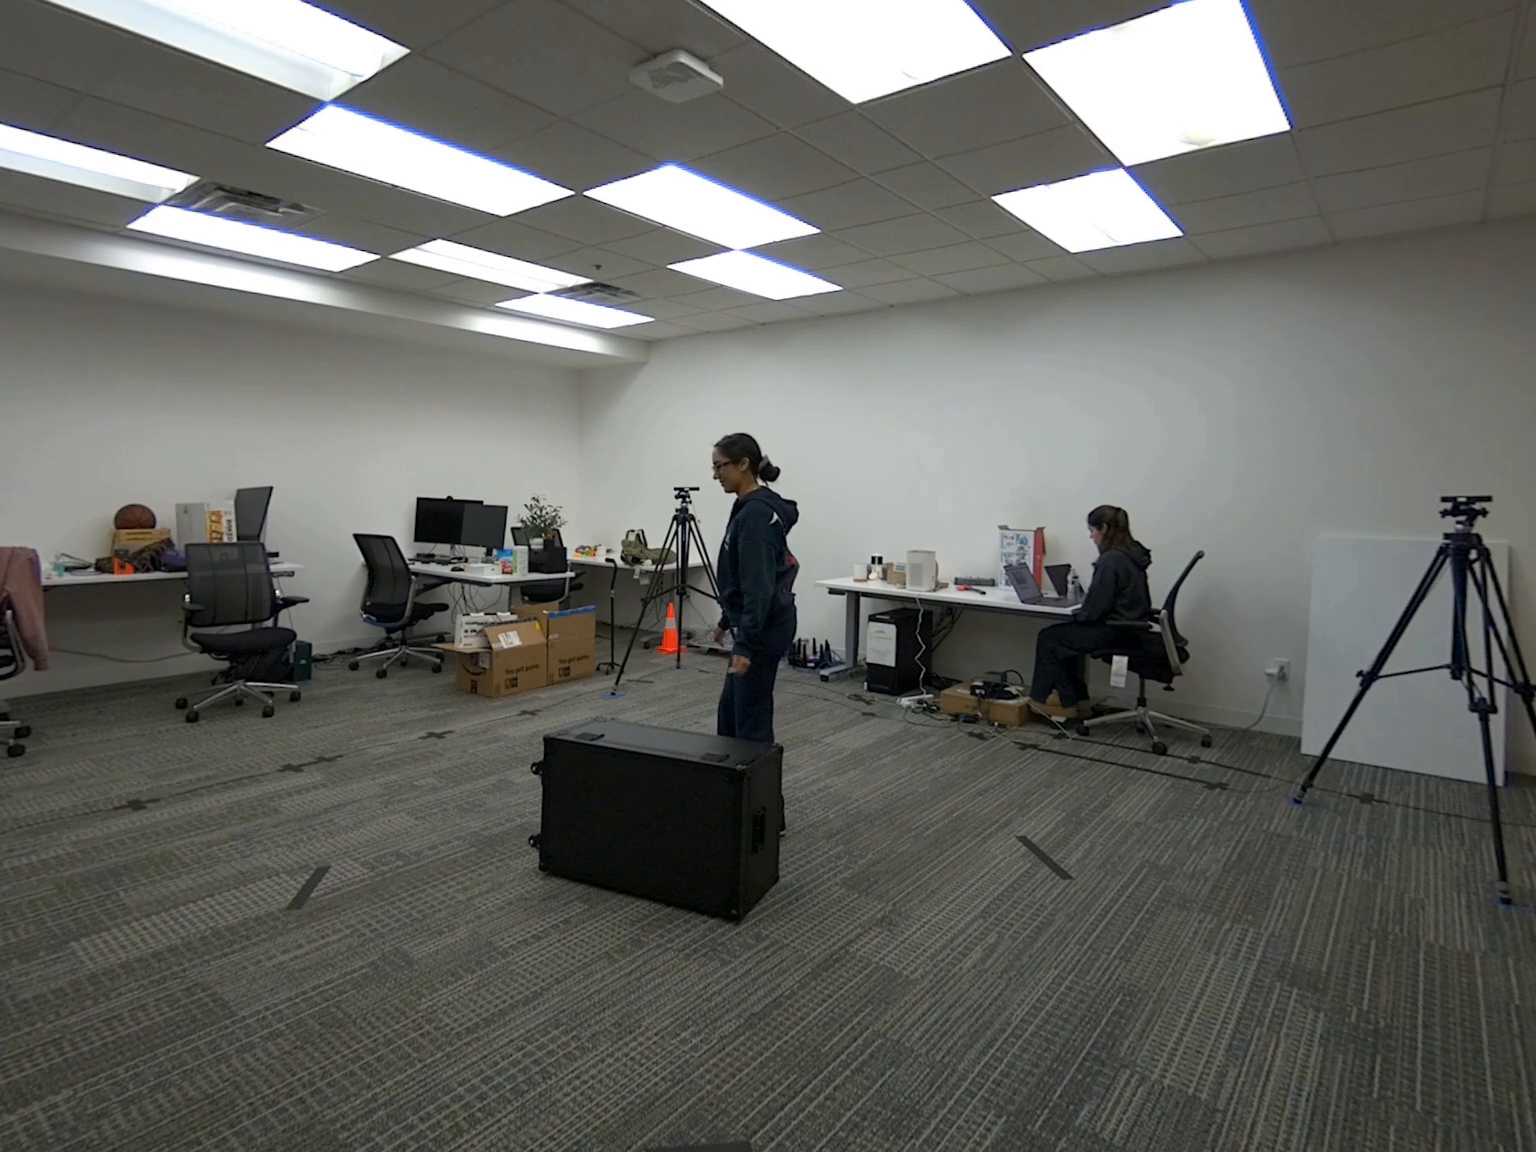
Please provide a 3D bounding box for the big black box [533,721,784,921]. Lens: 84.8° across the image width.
[{"bbox_3d":[-0.417,0.813,3.048,0.883,0.521,0.387,3,2,24],"label":"big black box"}]
